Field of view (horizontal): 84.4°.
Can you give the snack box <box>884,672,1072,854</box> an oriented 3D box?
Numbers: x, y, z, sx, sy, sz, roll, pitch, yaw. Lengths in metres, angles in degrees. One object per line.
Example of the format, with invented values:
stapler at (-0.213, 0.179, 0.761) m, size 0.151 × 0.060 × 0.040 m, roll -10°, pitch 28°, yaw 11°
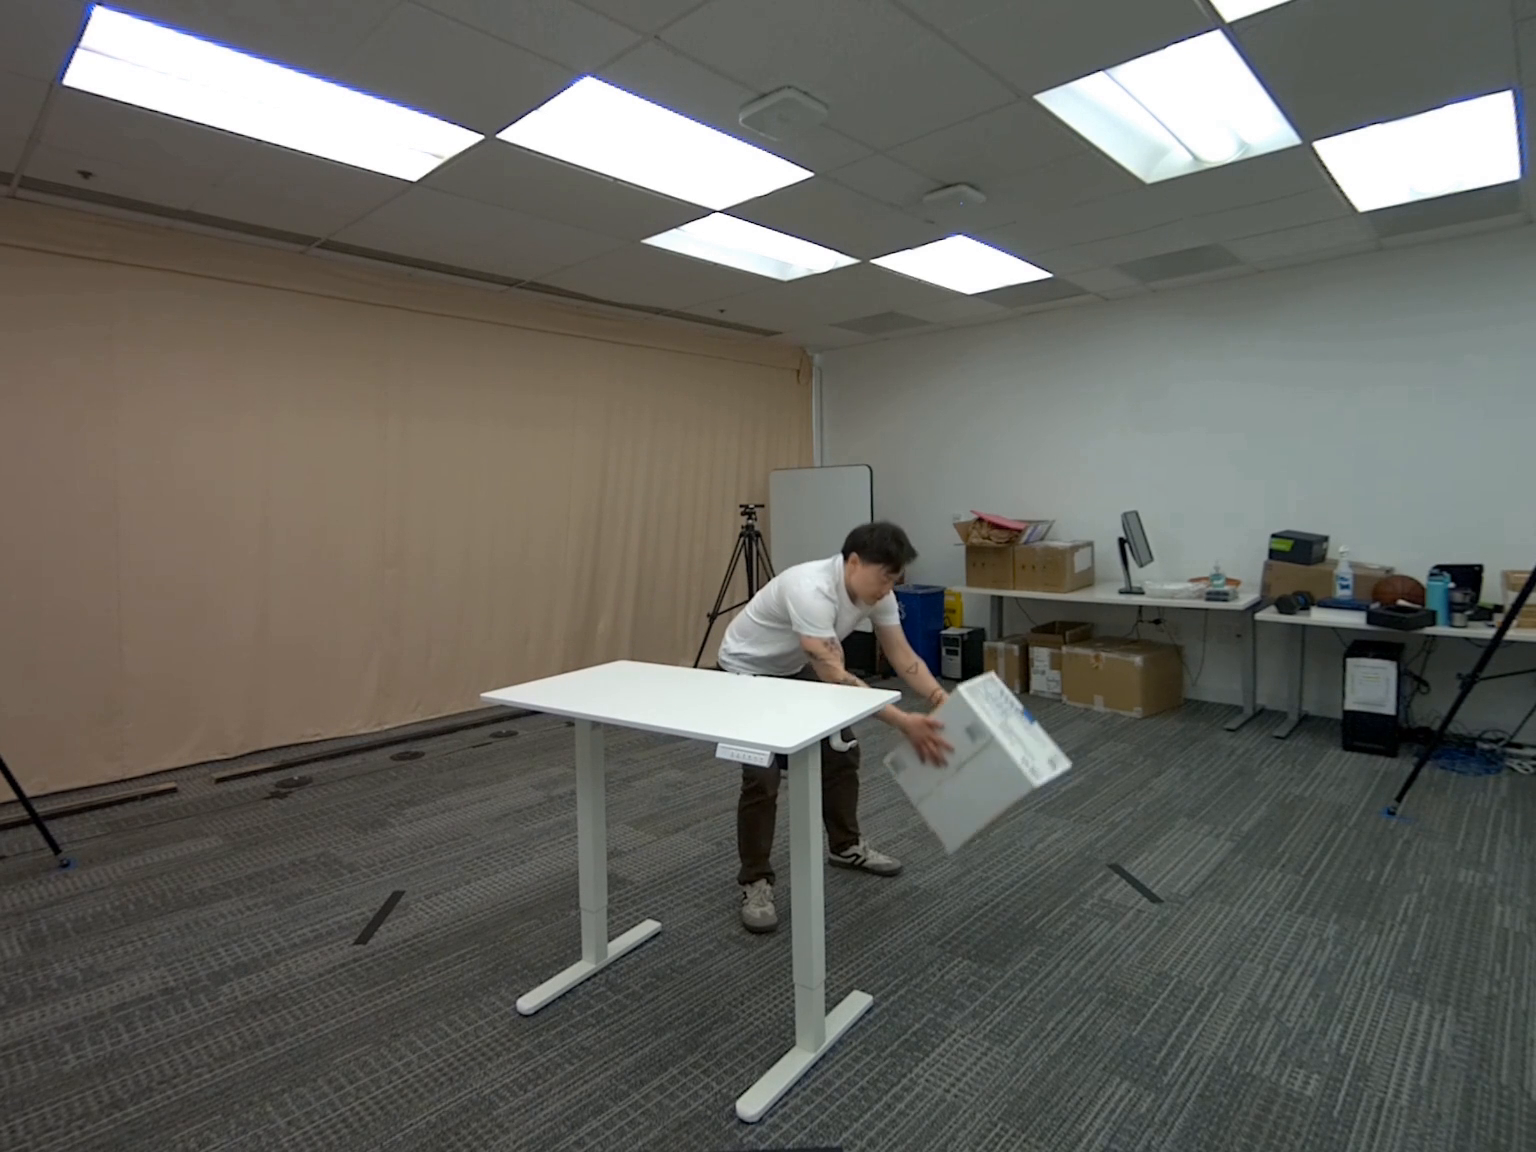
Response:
snack box at (0.604, 0.551, 2.529) m, size 0.200 × 0.350 × 0.405 m, roll -10°, pitch -36°, yaw -42°
